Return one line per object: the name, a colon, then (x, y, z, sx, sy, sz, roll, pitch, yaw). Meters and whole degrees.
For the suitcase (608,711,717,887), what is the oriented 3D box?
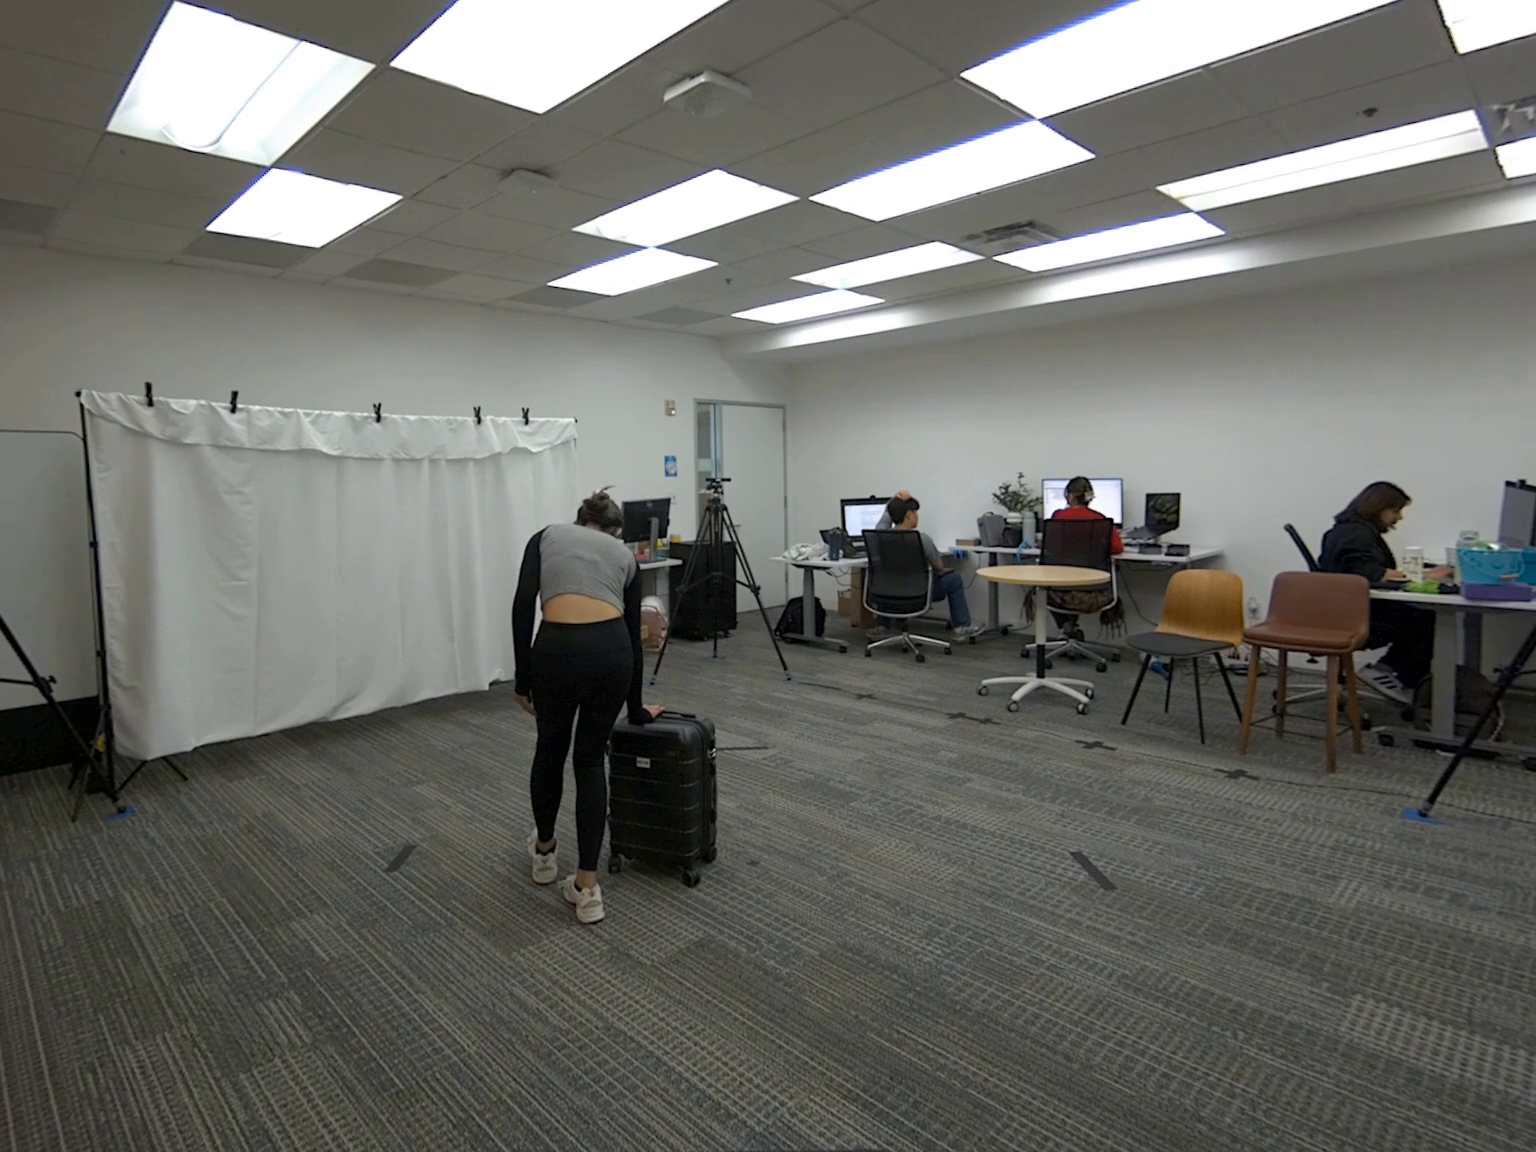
suitcase: (-0.377, 0.773, 3.097, 0.383, 0.548, 0.244, 1, 4, 23)
